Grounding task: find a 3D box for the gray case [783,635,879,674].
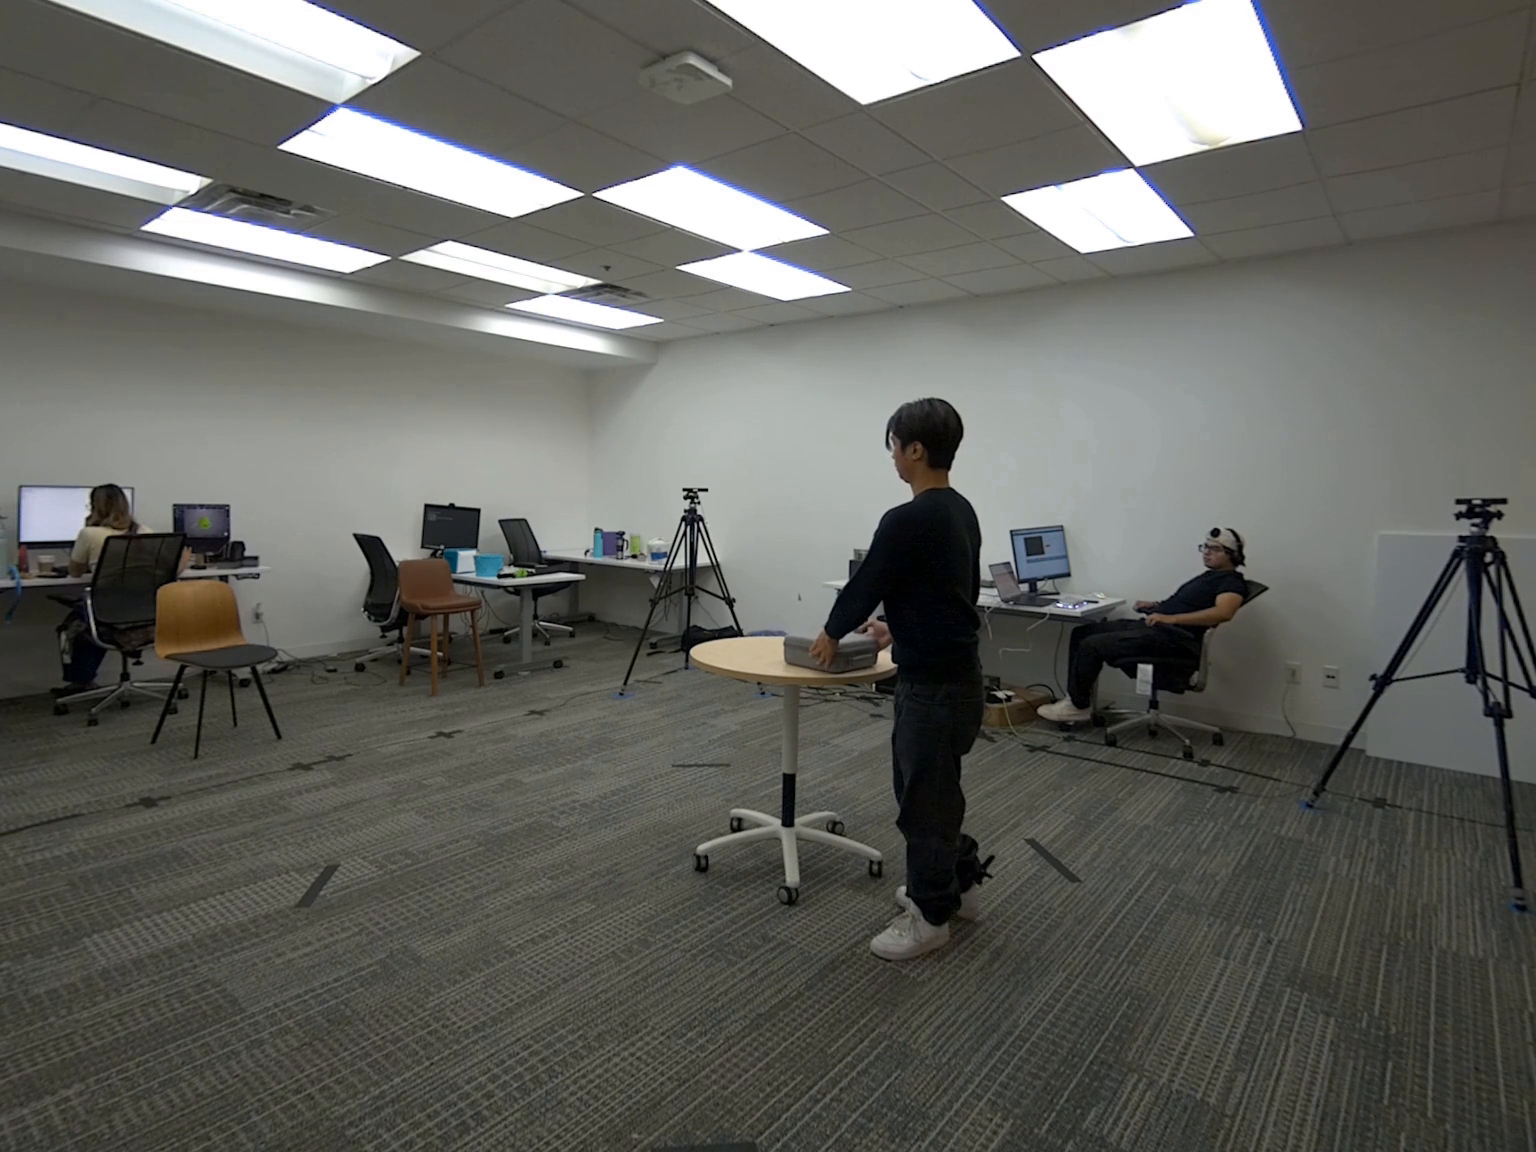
[{"bbox_3d":[0.214,0.256,2.990,0.269,0.104,0.249,5,5,42],"label":"gray case"}]
